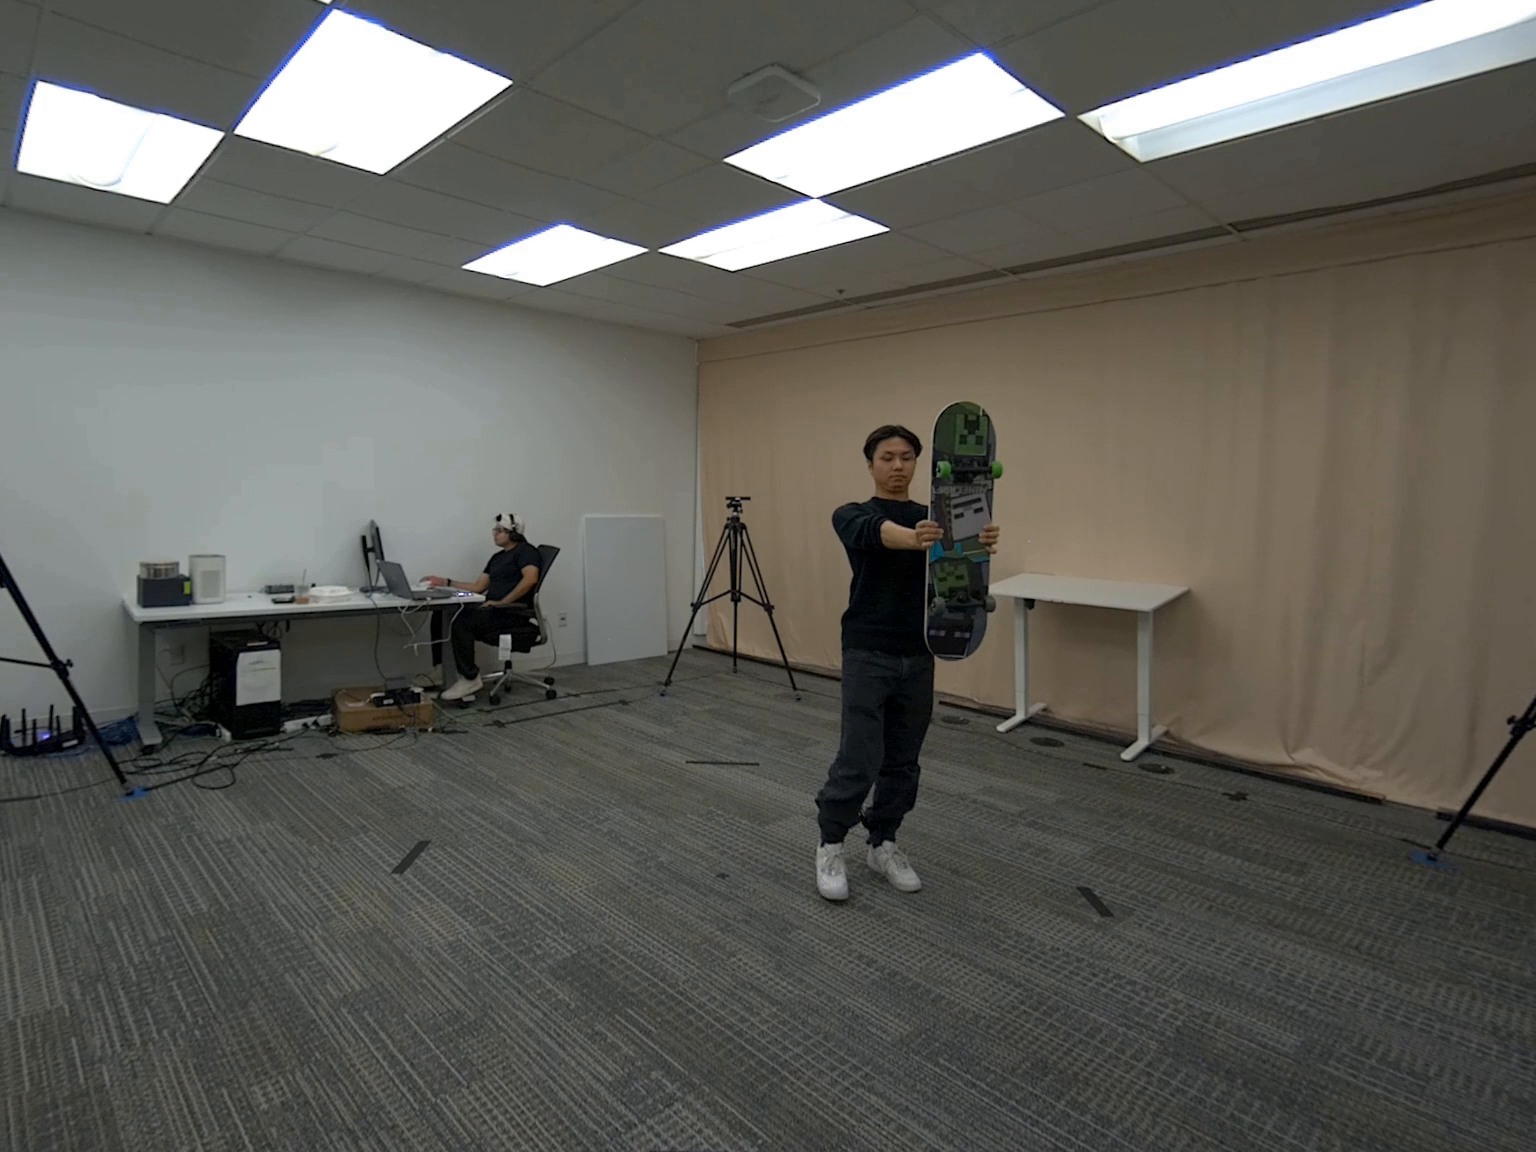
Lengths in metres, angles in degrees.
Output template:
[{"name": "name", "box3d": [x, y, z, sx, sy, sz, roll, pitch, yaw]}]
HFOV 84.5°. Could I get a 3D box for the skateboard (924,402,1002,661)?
[{"name": "skateboard", "box3d": [0.569, -0.116, 2.479, 0.192, 0.780, 0.111, -2, 9, -6]}]
